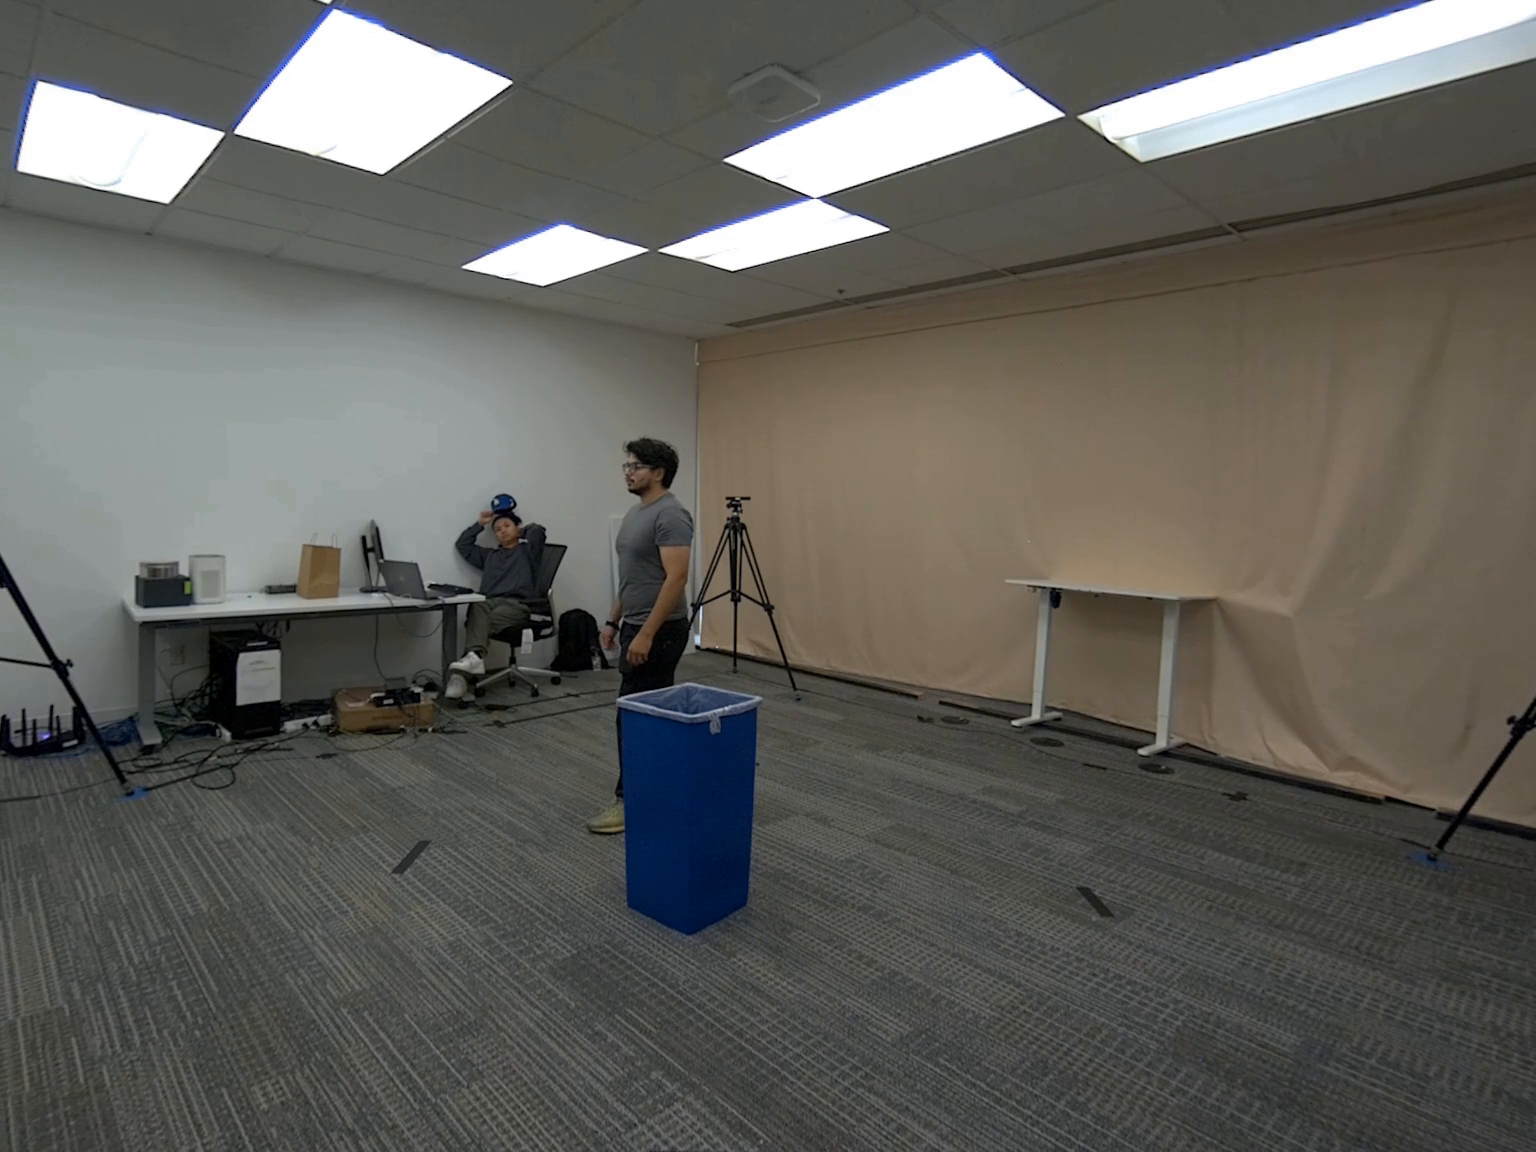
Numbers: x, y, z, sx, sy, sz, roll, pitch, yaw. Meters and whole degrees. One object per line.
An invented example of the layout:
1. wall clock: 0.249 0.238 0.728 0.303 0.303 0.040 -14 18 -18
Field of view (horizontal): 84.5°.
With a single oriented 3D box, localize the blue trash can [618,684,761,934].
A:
1. blue trash can: -0.281 0.769 2.860 0.383 0.712 0.369 4 4 39
